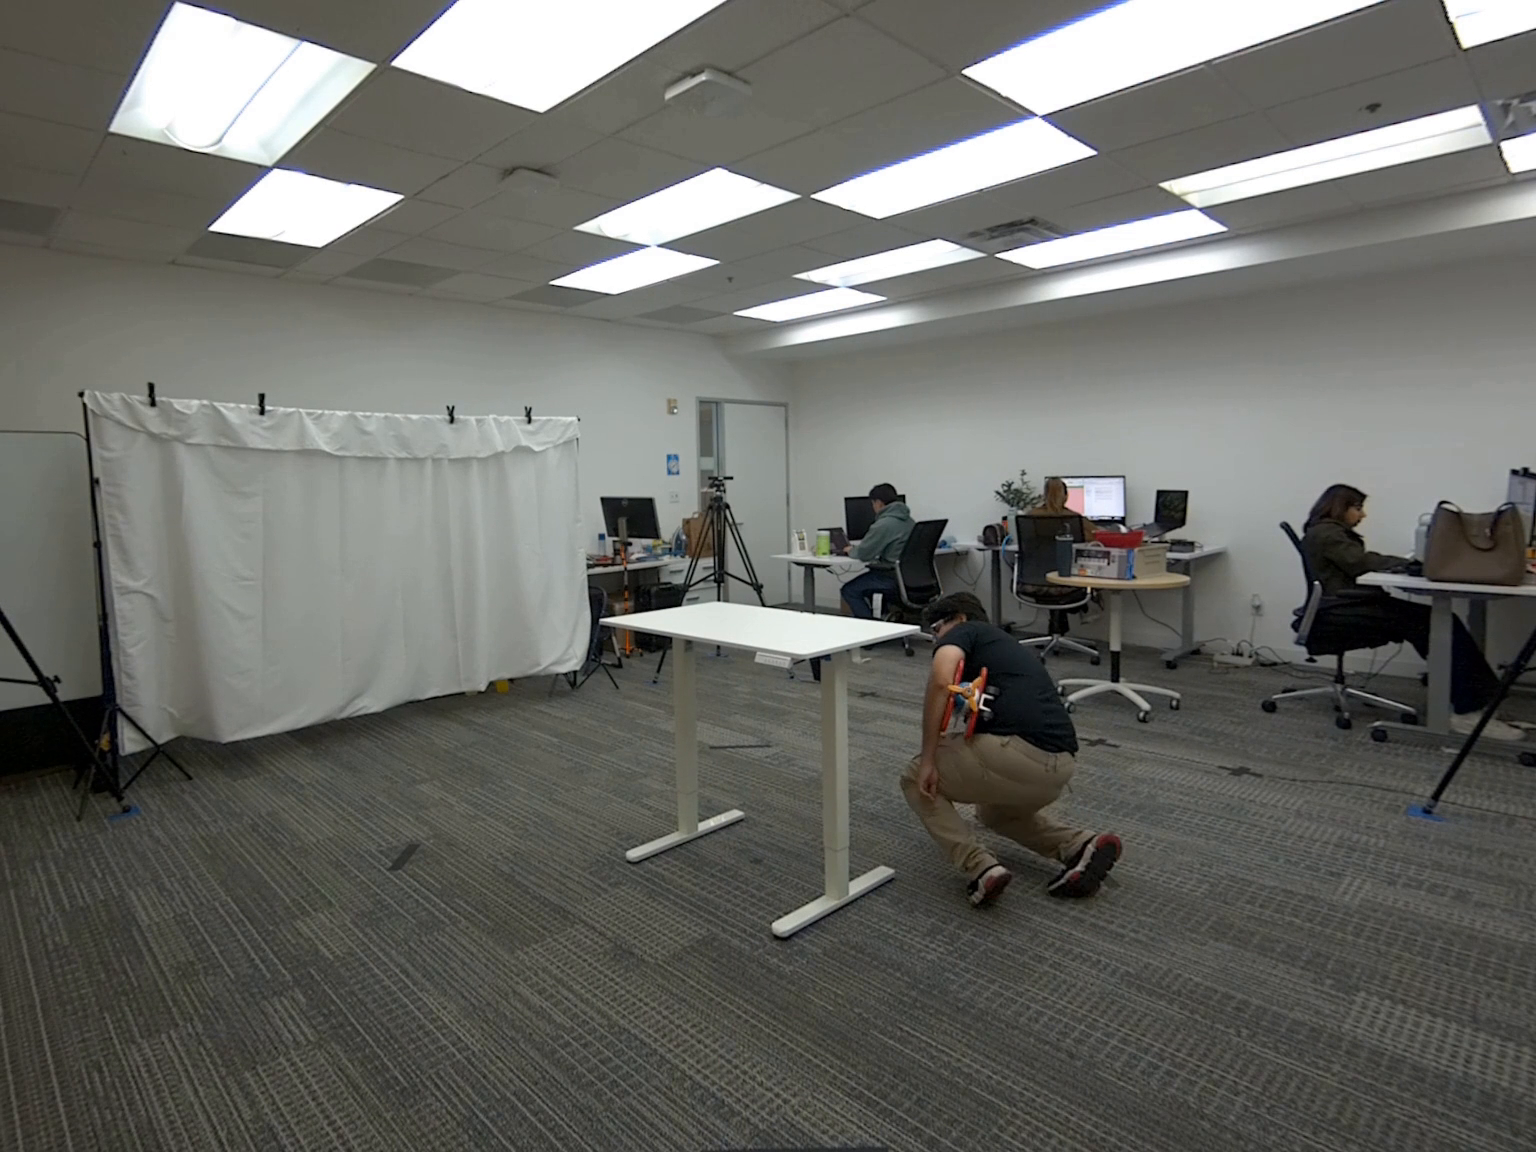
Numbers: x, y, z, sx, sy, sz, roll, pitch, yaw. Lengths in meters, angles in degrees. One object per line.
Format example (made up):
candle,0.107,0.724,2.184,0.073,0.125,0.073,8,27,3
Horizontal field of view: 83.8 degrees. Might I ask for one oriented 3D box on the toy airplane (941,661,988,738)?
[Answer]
toy airplane,0.654,0.449,2.884,0.157,0.256,0.253,27,35,0
